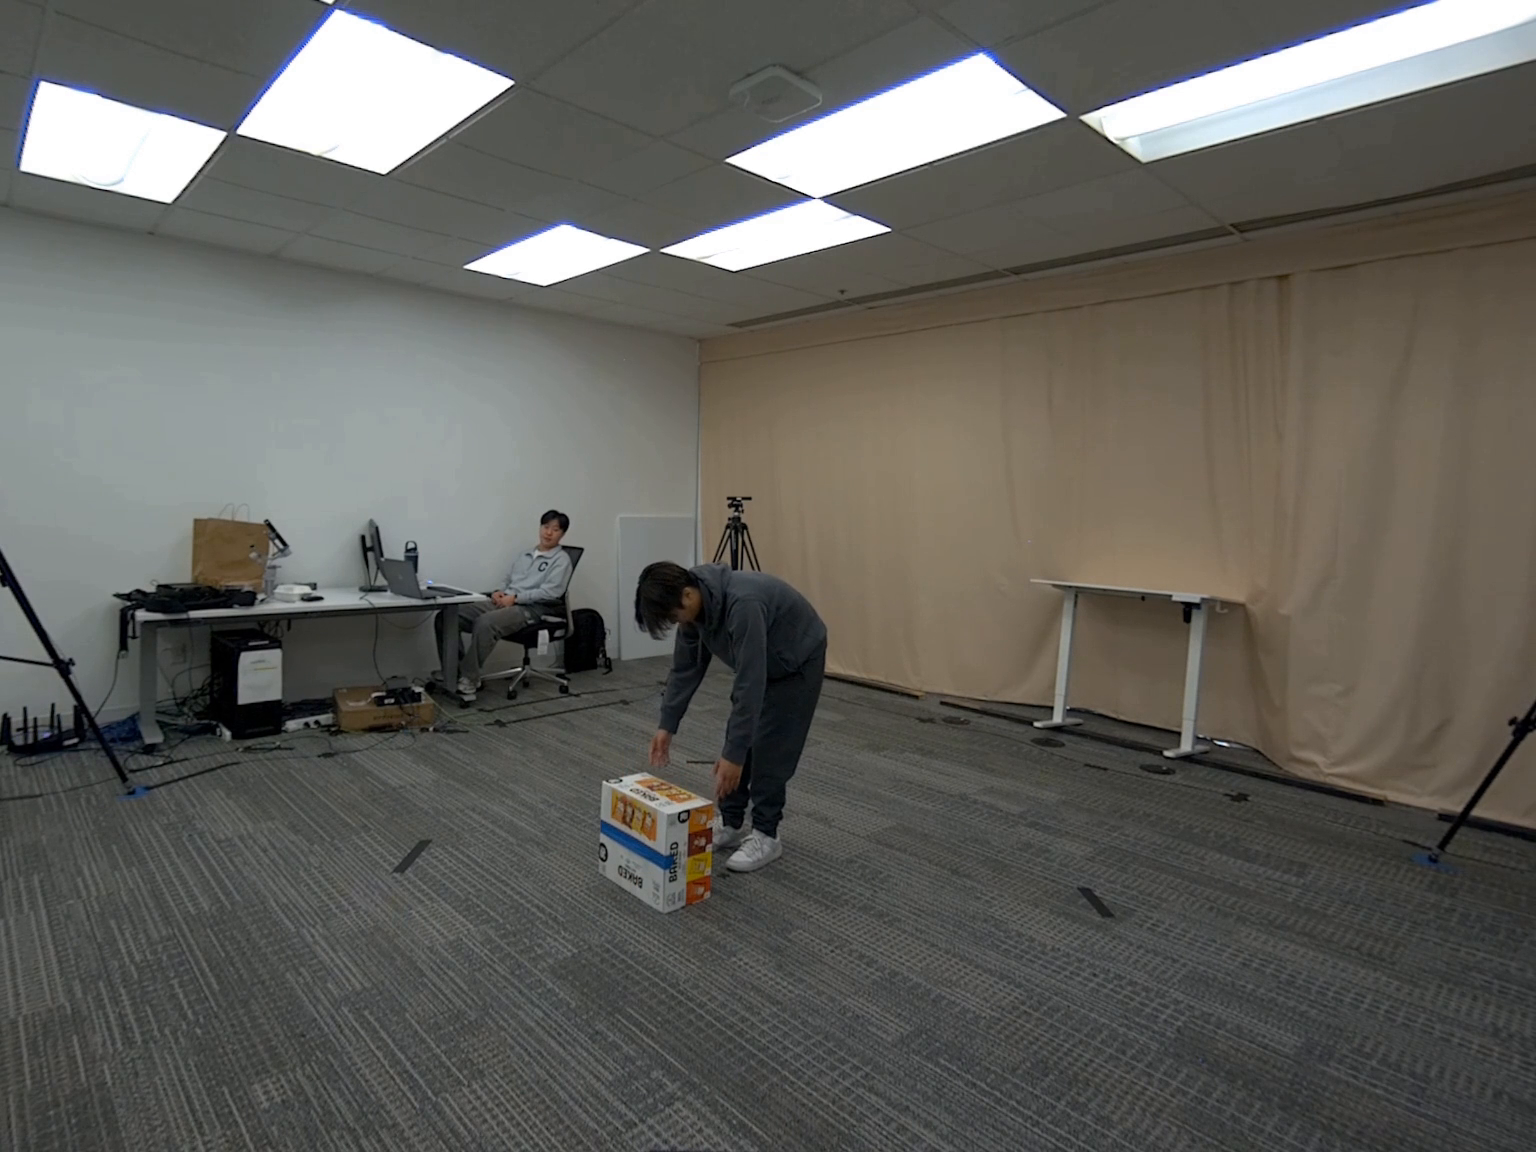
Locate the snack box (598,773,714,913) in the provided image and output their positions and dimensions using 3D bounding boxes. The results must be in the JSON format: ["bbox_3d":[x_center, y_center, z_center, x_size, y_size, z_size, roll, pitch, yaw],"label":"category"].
[{"bbox_3d":[-0.415,0.942,3.008,0.201,0.340,0.415,0,4,-43],"label":"snack box"}]
